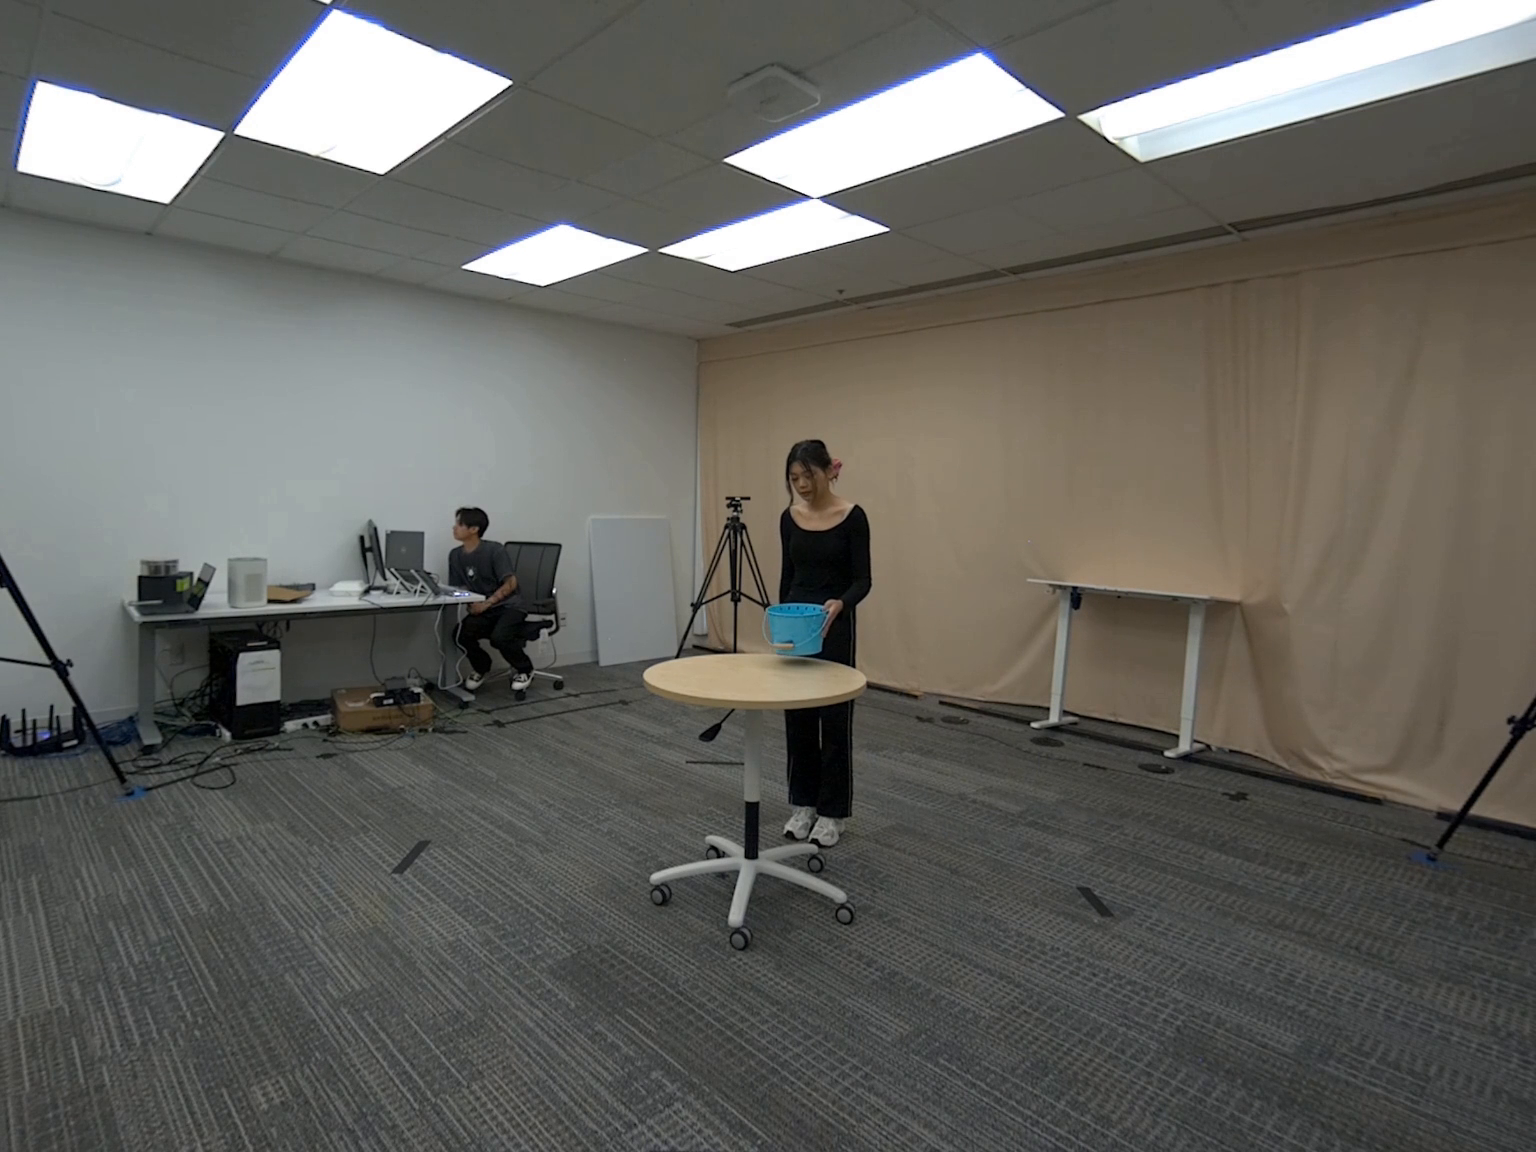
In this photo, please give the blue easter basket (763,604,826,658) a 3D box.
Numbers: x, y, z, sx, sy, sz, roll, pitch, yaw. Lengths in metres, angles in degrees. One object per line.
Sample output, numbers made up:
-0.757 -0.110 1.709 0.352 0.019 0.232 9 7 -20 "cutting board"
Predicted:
0.093 0.204 3.112 0.243 0.155 0.245 -1 6 -1 "blue easter basket"
